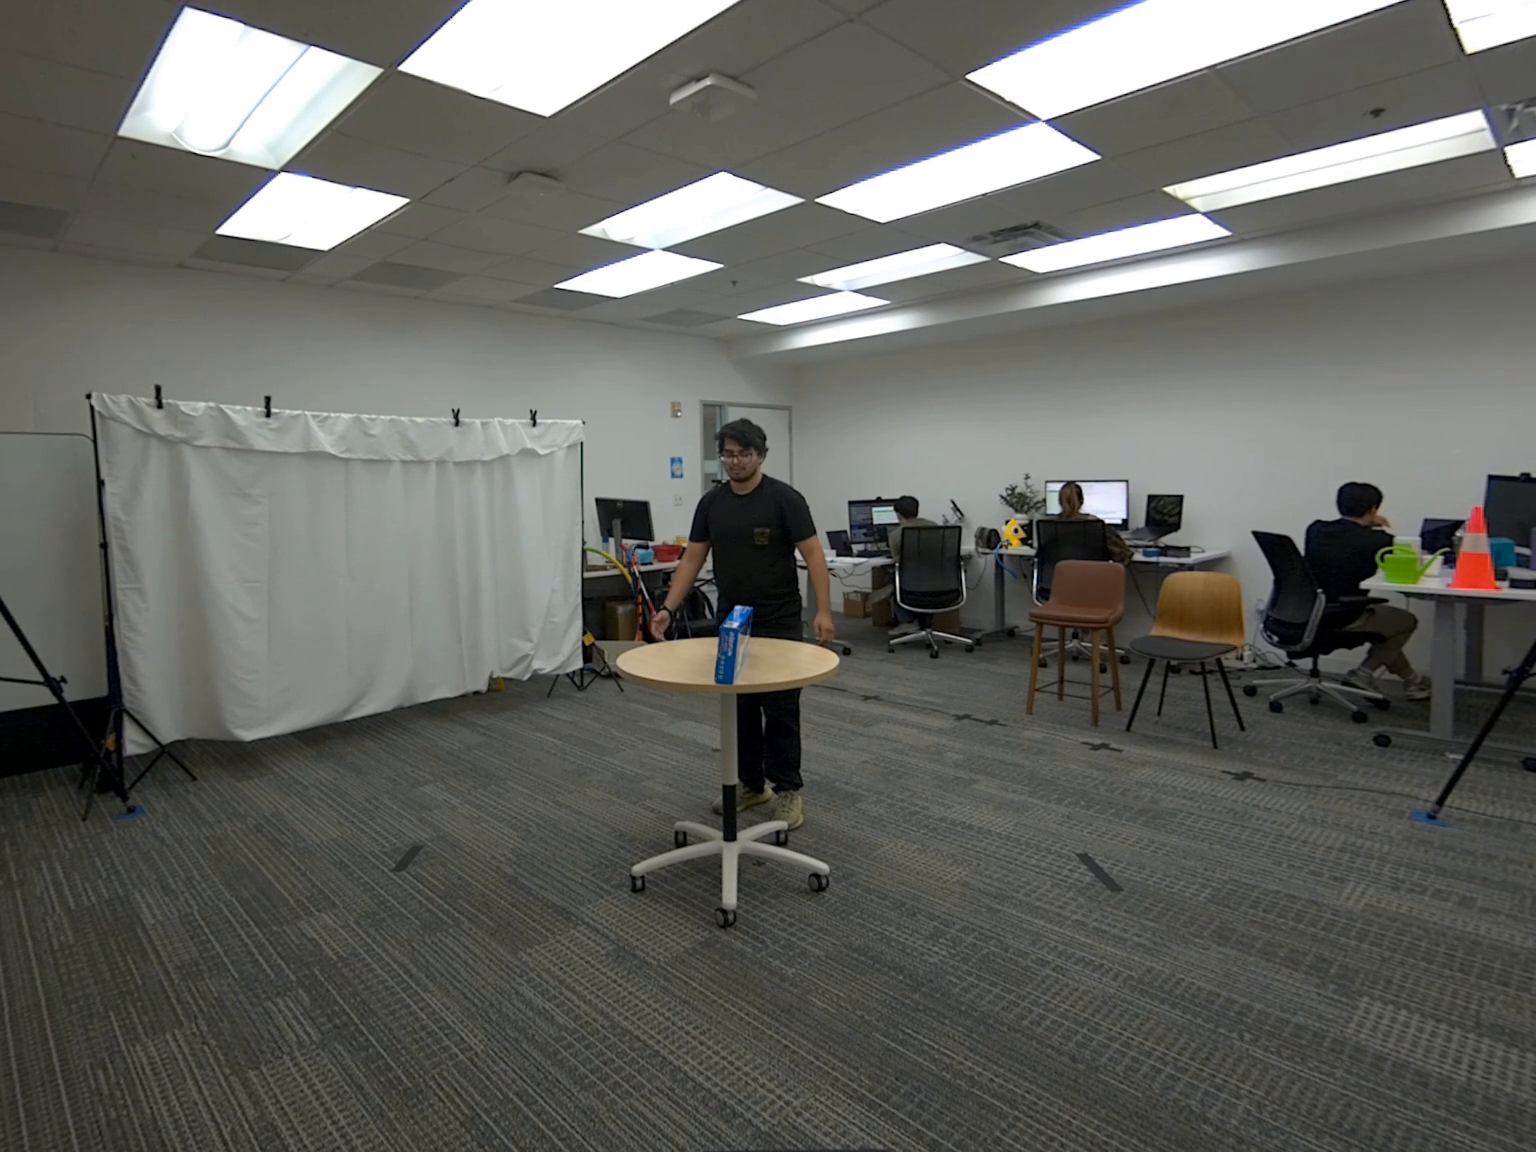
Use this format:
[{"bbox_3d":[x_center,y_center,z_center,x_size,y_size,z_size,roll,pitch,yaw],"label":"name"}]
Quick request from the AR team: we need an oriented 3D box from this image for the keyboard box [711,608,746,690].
[{"bbox_3d":[-0.126,0.225,2.780,0.059,0.175,0.436,0,7,4],"label":"keyboard box"}]
